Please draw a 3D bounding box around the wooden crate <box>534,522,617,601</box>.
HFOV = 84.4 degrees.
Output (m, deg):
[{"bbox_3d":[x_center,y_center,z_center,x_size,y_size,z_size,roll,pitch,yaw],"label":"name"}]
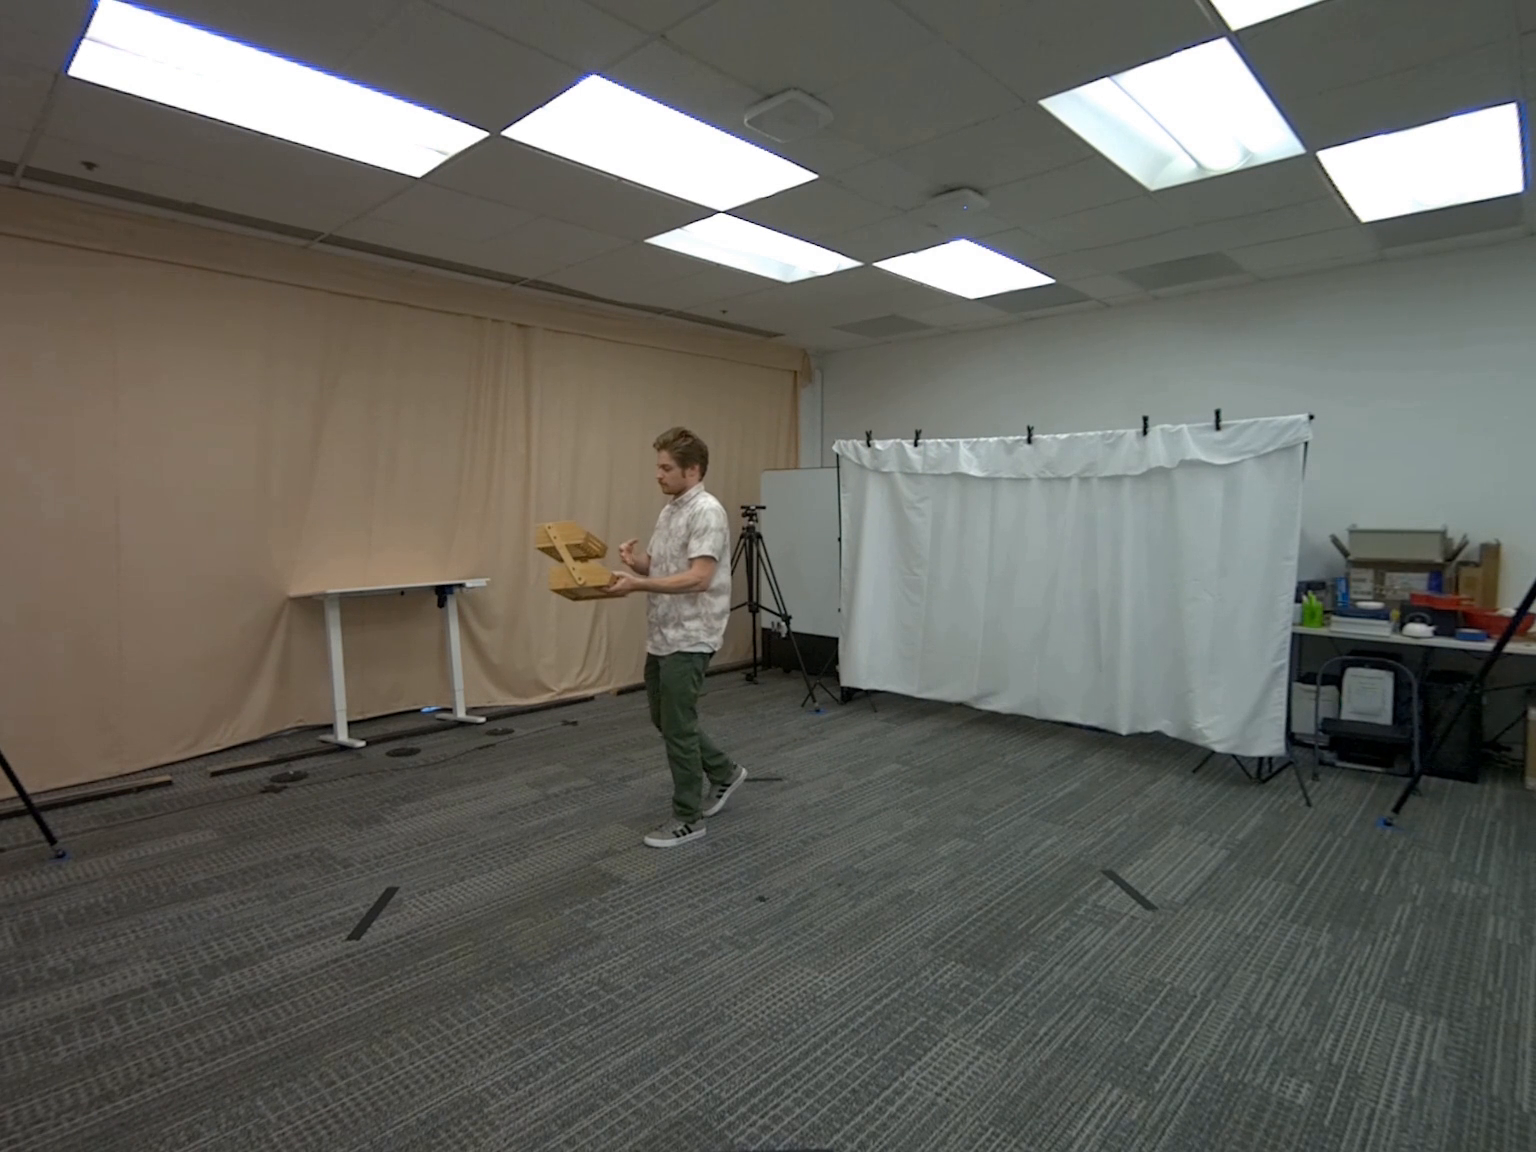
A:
[{"bbox_3d":[-0.728,-0.062,3.339,0.304,0.275,0.320,-4,-12,5],"label":"wooden crate"}]
